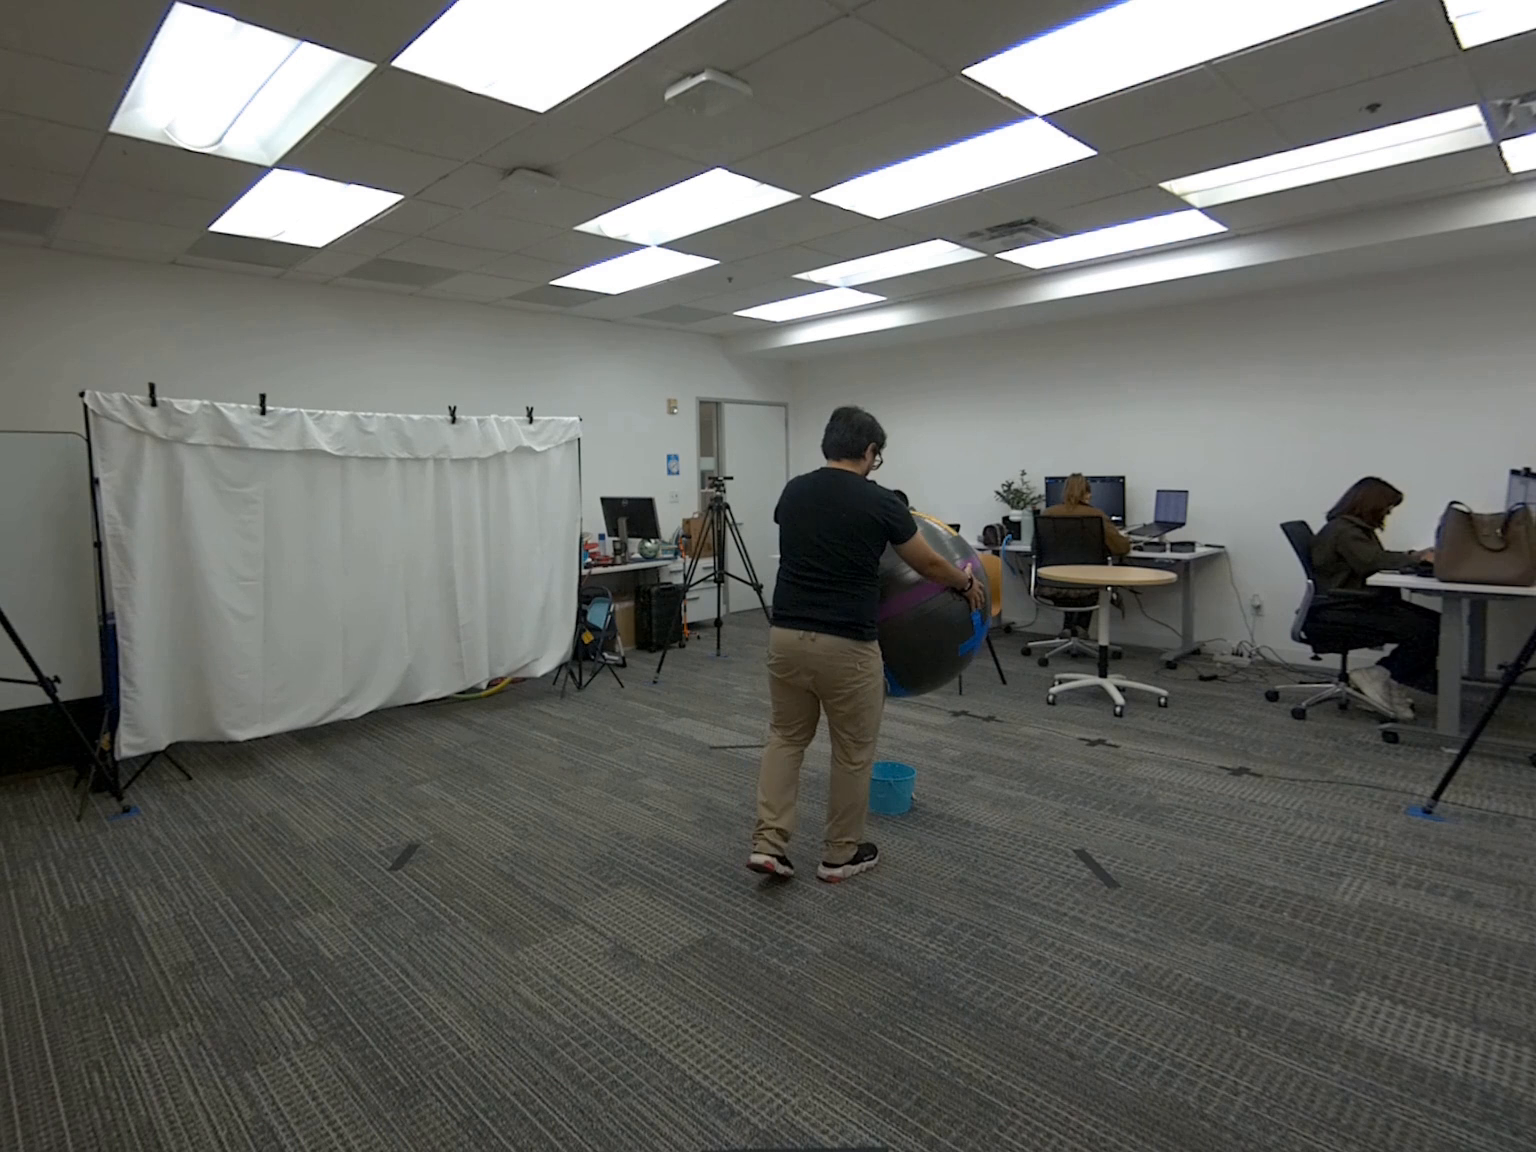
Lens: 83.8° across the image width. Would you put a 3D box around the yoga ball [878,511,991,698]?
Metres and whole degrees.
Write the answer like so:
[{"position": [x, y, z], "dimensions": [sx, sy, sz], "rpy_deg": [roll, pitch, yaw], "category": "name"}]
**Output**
[{"position": [0.518, 0.115, 3.467], "dimensions": [0.757, 0.755, 0.762], "rpy_deg": [-1, 5, -2], "category": "yoga ball"}]
